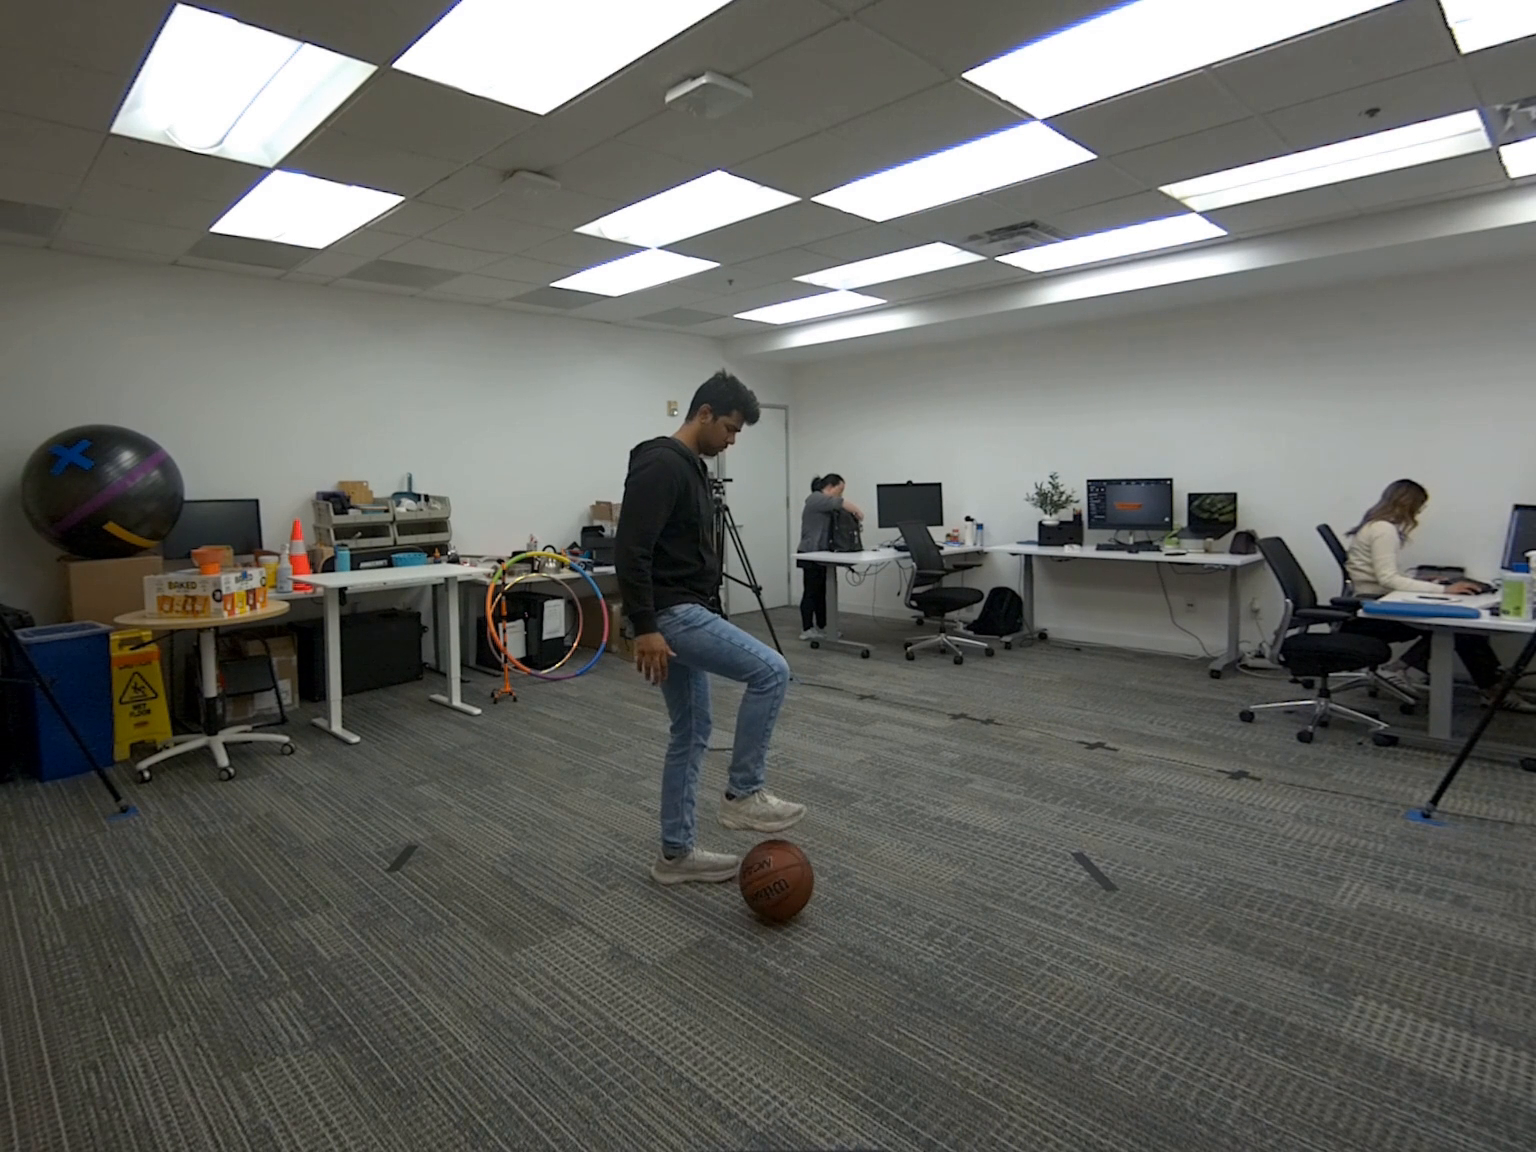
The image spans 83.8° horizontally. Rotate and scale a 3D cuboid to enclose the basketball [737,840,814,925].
[{"bbox_3d":[0.030,0.967,2.722,0.236,0.235,0.237,-1,5,-2],"label":"basketball"}]
